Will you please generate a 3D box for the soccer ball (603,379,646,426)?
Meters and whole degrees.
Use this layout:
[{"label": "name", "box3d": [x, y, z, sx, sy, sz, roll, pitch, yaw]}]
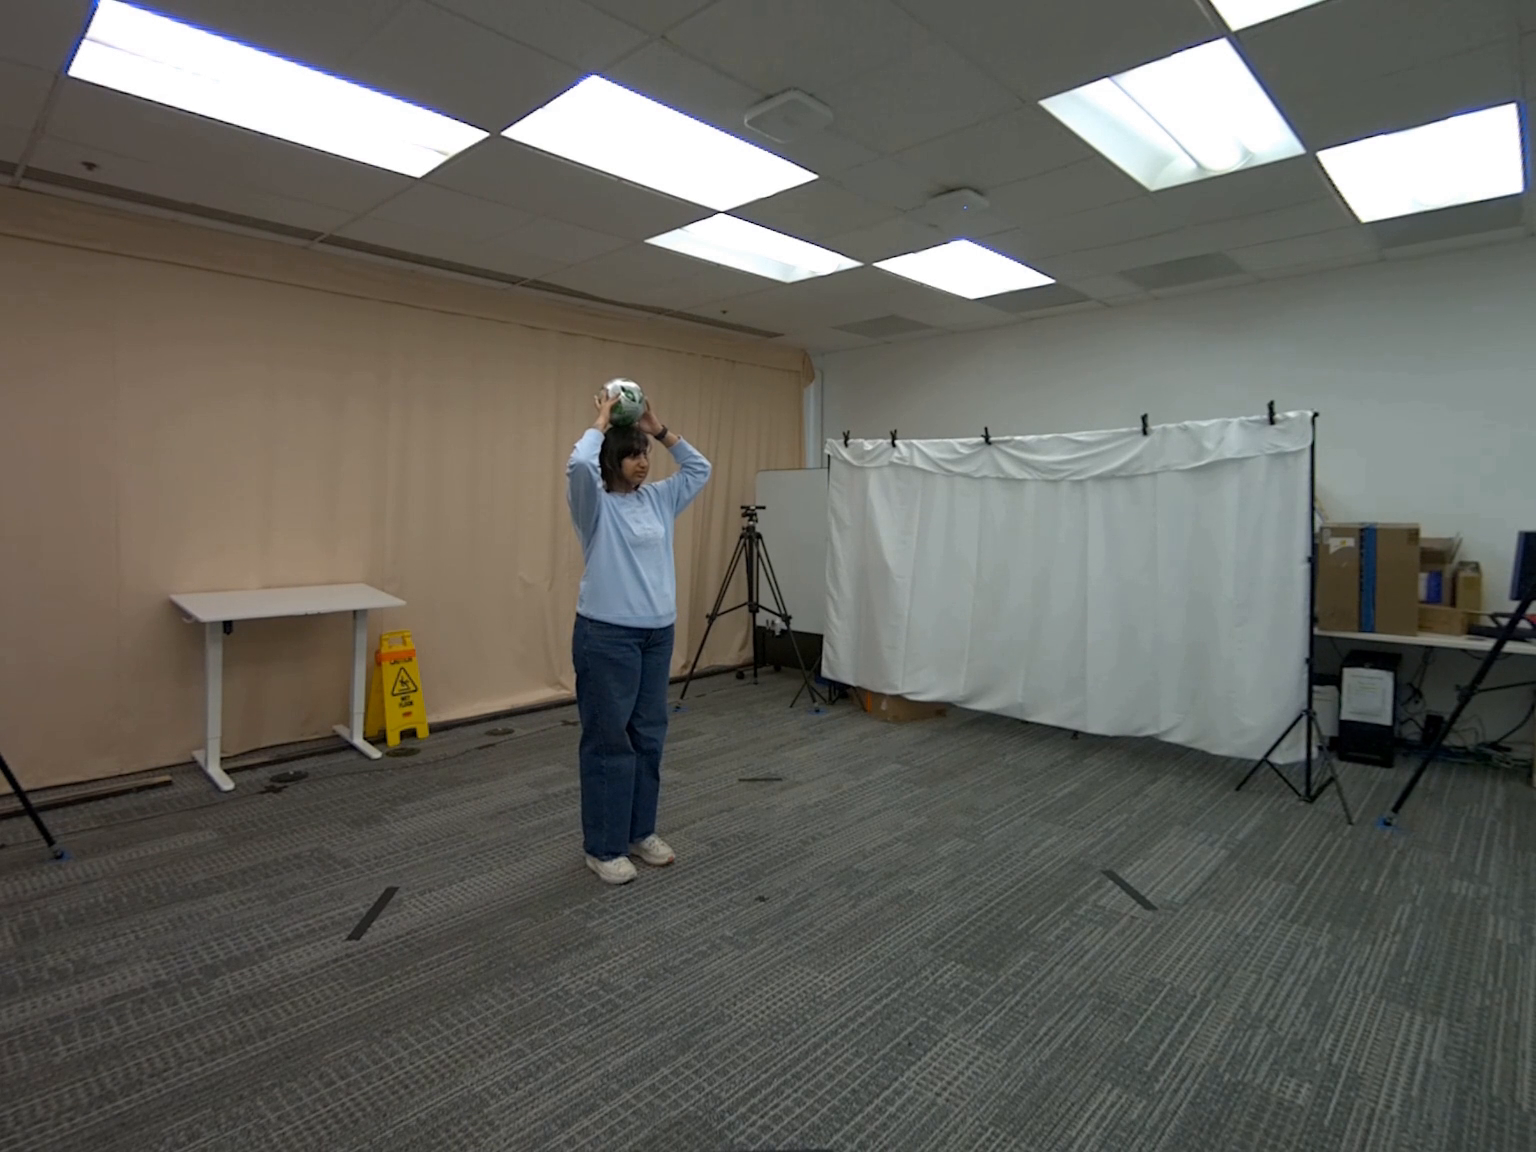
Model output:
[{"label": "soccer ball", "box3d": [-0.560, -0.662, 3.223, 0.187, 0.187, 0.188, 0, 4, -2]}]
